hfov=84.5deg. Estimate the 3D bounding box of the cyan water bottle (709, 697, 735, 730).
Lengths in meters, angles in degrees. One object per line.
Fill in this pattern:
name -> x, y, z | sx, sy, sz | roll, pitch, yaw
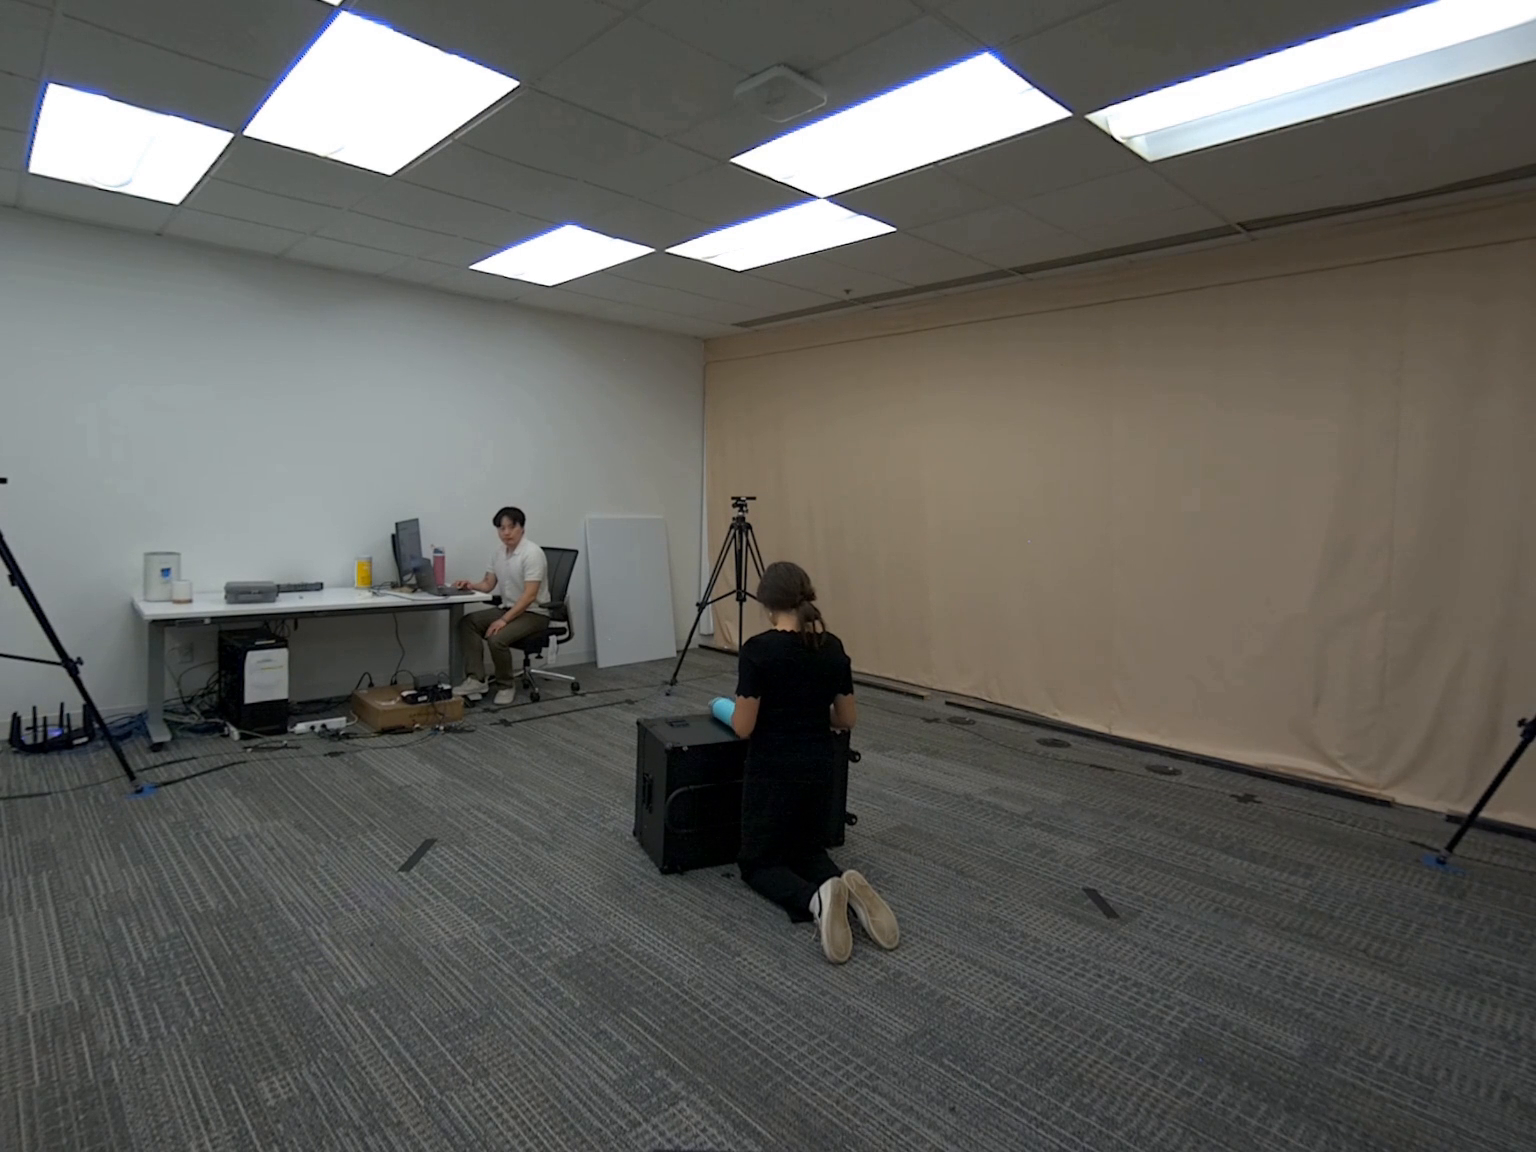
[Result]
cyan water bottle -> -0.159, 0.551, 3.354 | 0.090, 0.092, 0.290 | -1, 9, -27
